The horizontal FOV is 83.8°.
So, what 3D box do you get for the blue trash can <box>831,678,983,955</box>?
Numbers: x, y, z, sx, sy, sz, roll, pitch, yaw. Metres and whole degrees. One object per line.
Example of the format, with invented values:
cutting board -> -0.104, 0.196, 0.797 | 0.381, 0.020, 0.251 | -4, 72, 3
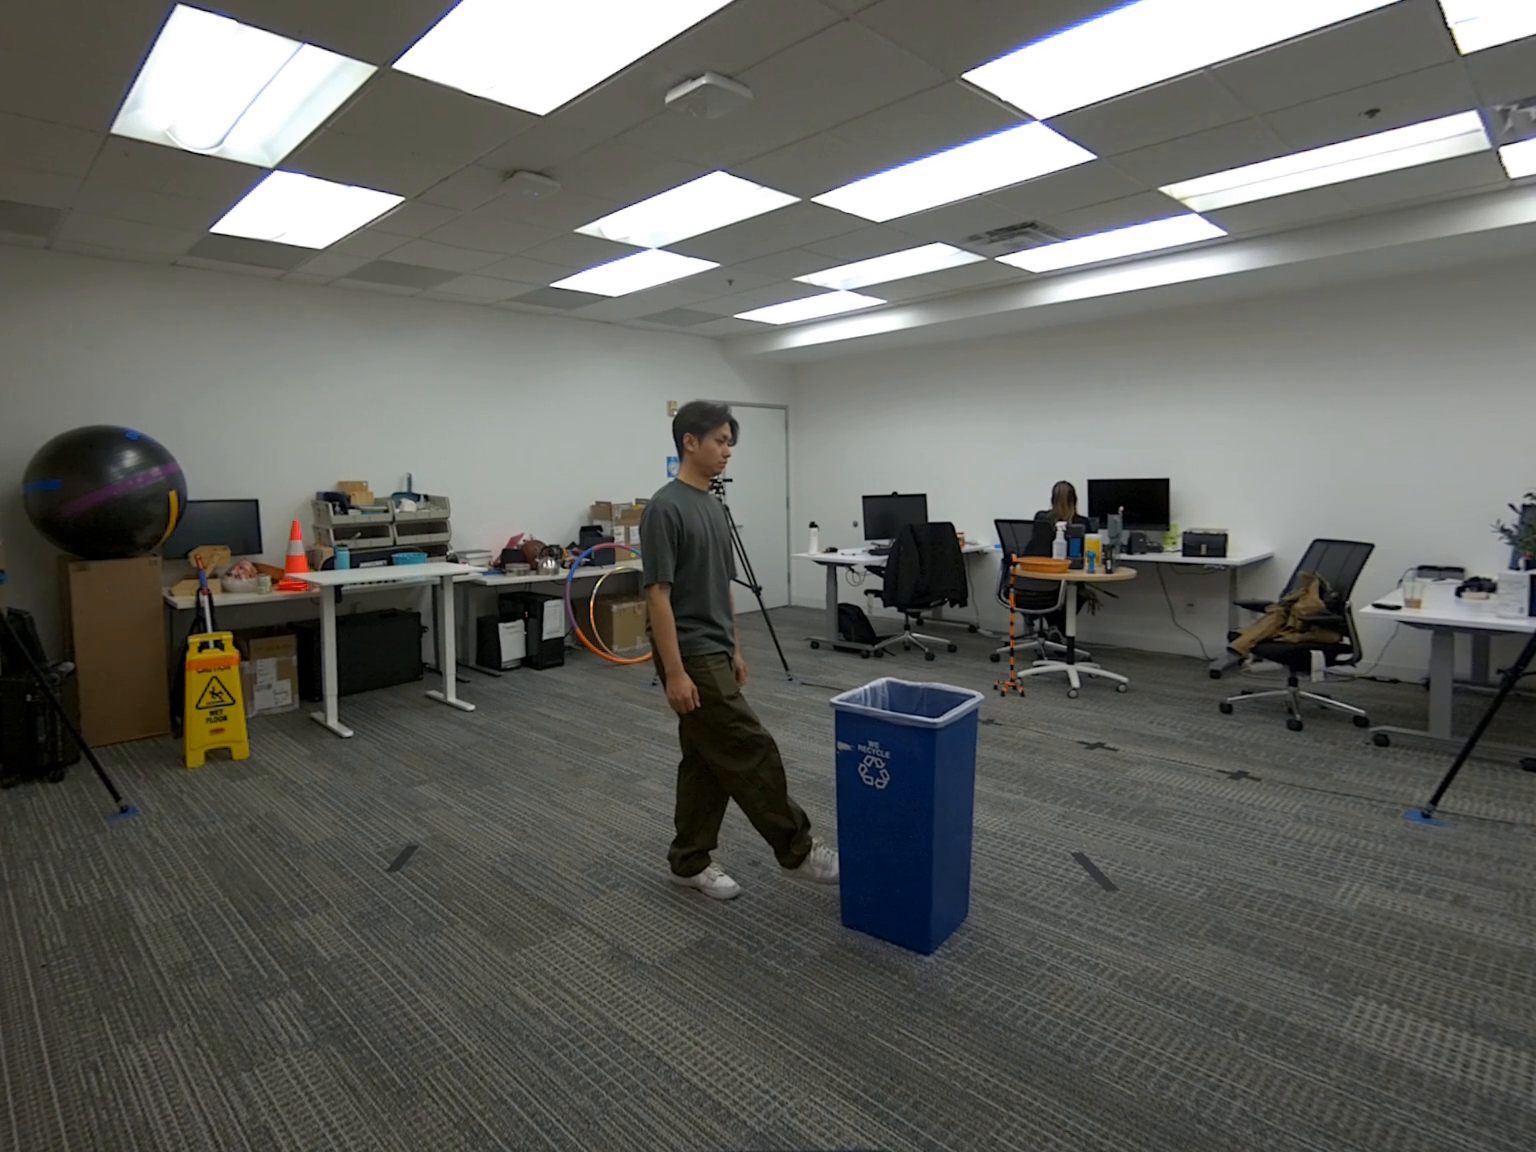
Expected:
blue trash can -> 0.430, 0.727, 2.670 | 0.389, 0.710, 0.365 | 3, 6, 35
